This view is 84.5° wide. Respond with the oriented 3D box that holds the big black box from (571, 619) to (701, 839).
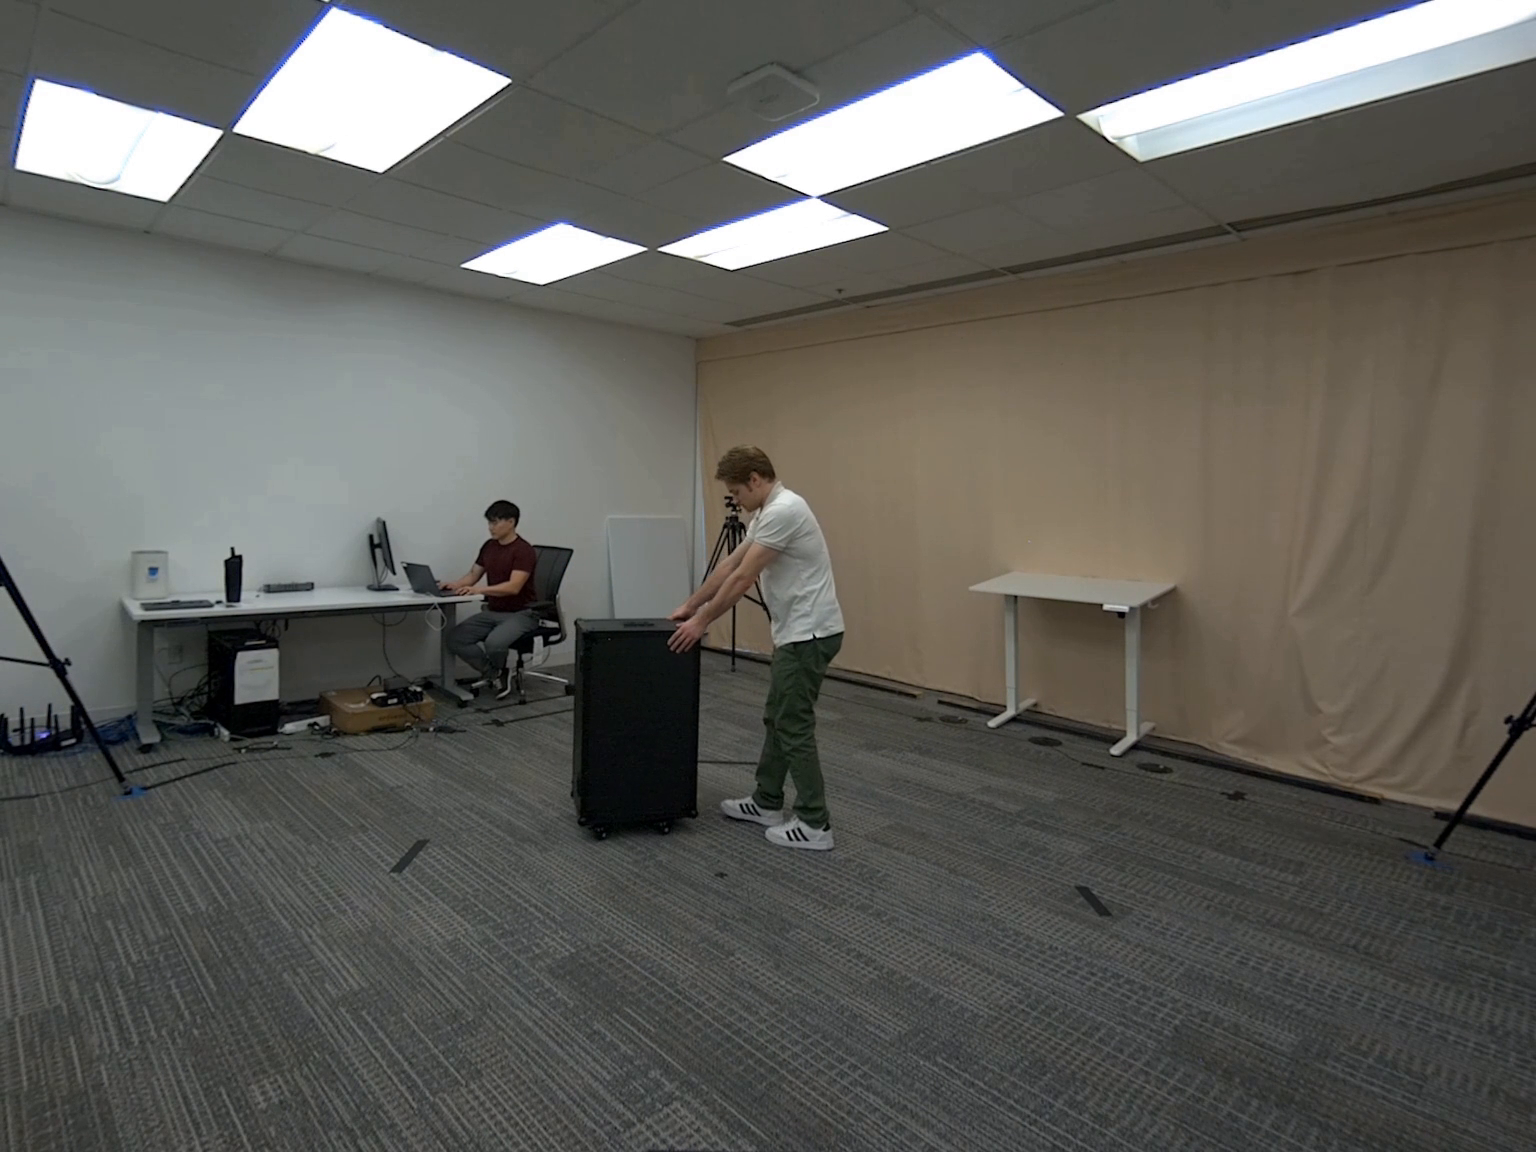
[{"bbox_3d":[-0.582,0.630,3.562,0.516,0.867,0.391,1,2,-18],"label":"big black box"}]
